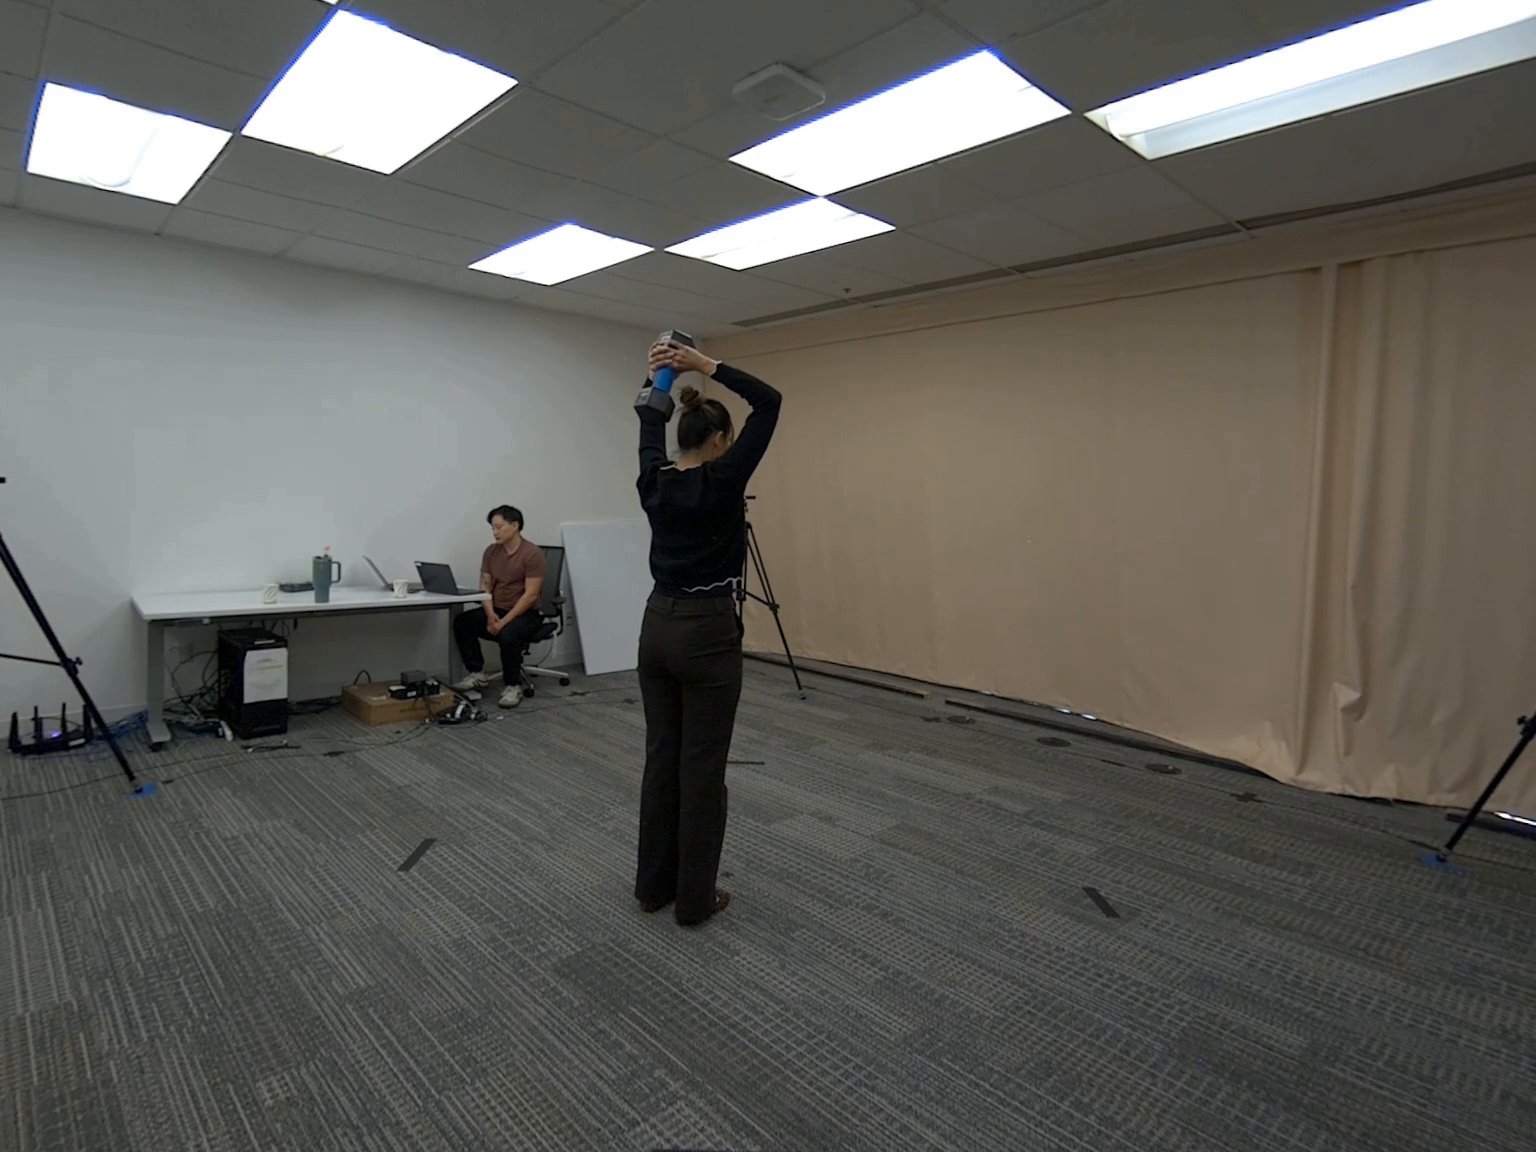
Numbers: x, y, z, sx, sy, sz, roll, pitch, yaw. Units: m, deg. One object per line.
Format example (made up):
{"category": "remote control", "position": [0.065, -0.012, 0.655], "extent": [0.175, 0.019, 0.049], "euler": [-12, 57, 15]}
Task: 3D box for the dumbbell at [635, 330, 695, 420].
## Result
{"category": "dumbbell", "position": [-0.330, -0.623, 2.645], "extent": [0.110, 0.296, 0.120], "euler": [11, -18, 14]}
